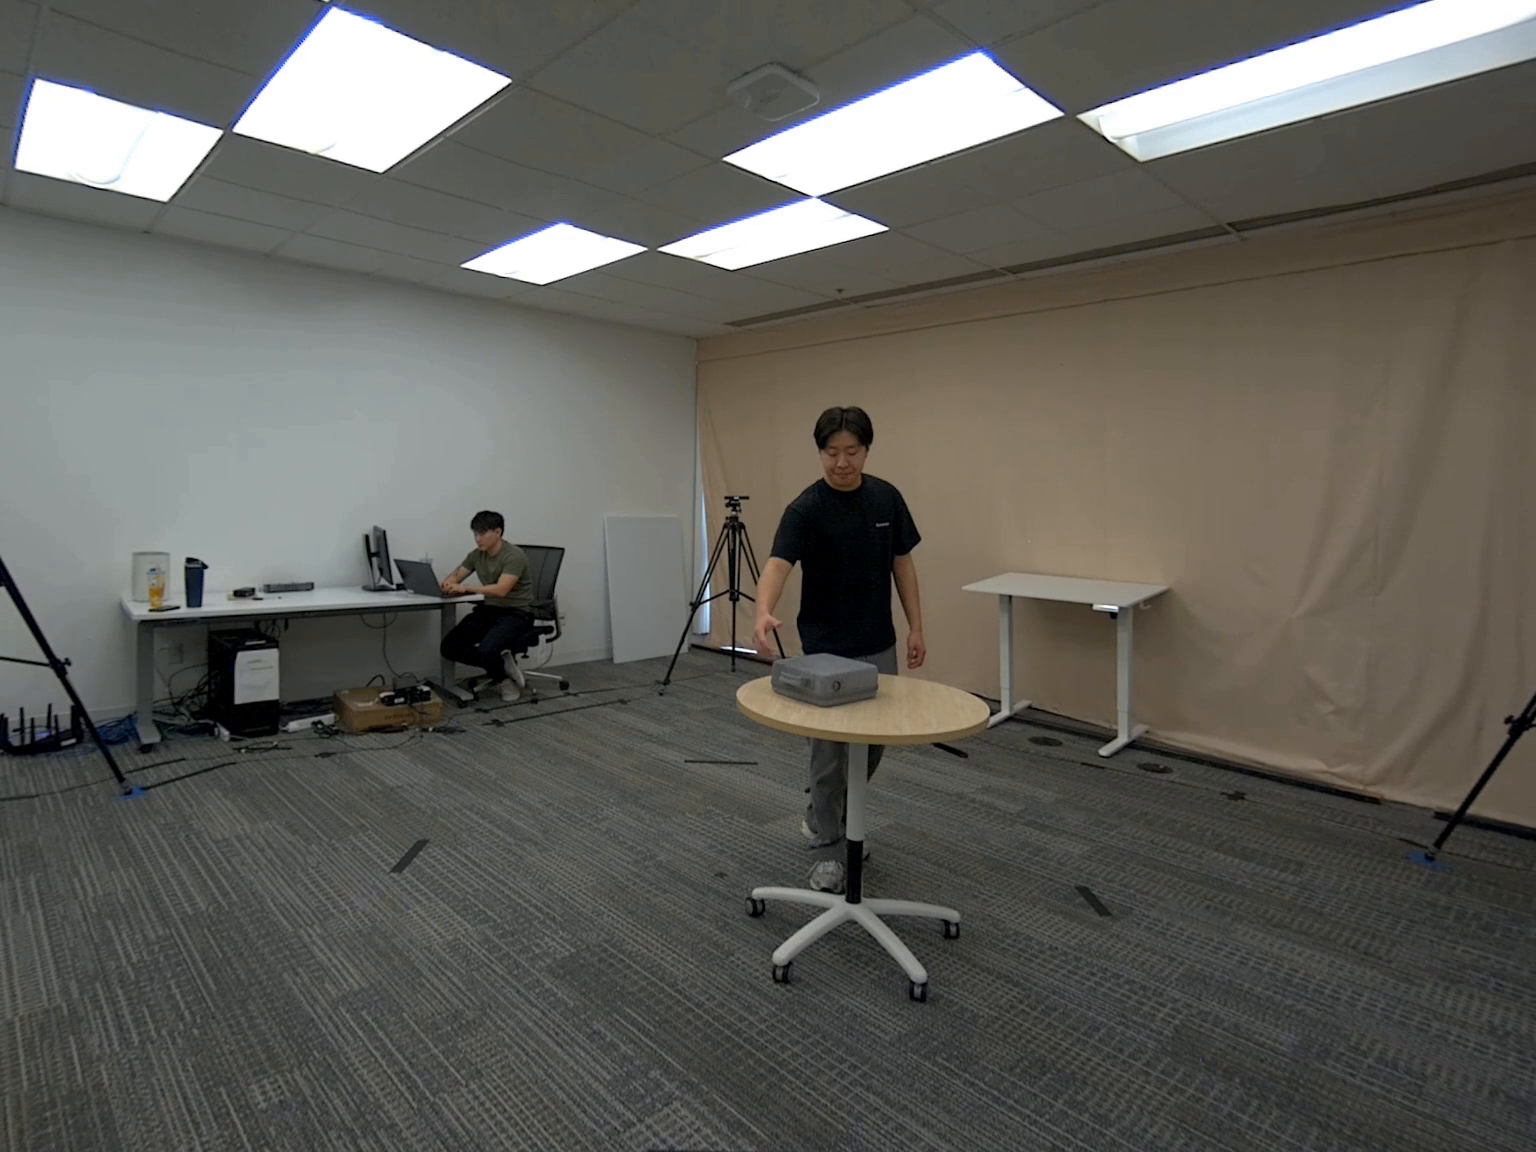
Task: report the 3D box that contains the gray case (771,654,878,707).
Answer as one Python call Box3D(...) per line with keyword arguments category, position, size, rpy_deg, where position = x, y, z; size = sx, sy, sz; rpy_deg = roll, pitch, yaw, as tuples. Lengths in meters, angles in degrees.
Box3D(category="gray case", position=(0.159, 0.321, 2.613), size=(0.281, 0.103, 0.270), rpy_deg=(-1, 6, -36))
